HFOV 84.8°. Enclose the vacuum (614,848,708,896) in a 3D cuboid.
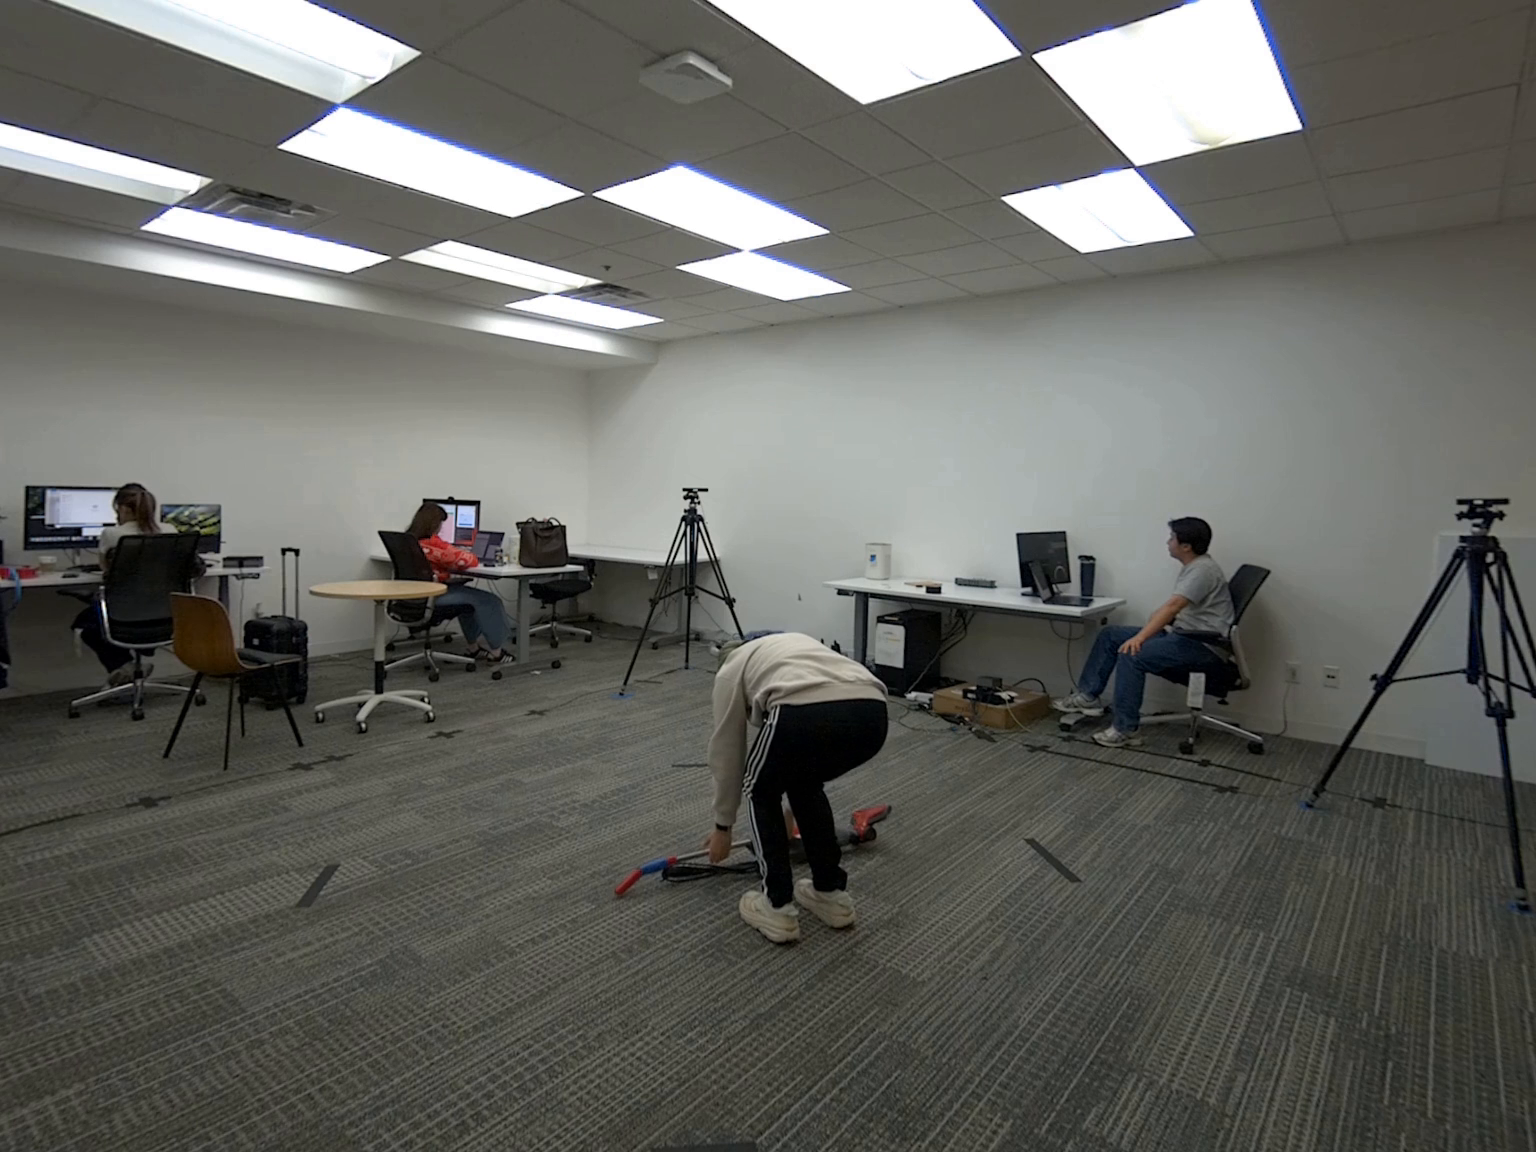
[{"bbox_3d":[-0.057,1.001,3.112,1.023,0.147,0.253,-4,-20,-29],"label":"vacuum"}]
